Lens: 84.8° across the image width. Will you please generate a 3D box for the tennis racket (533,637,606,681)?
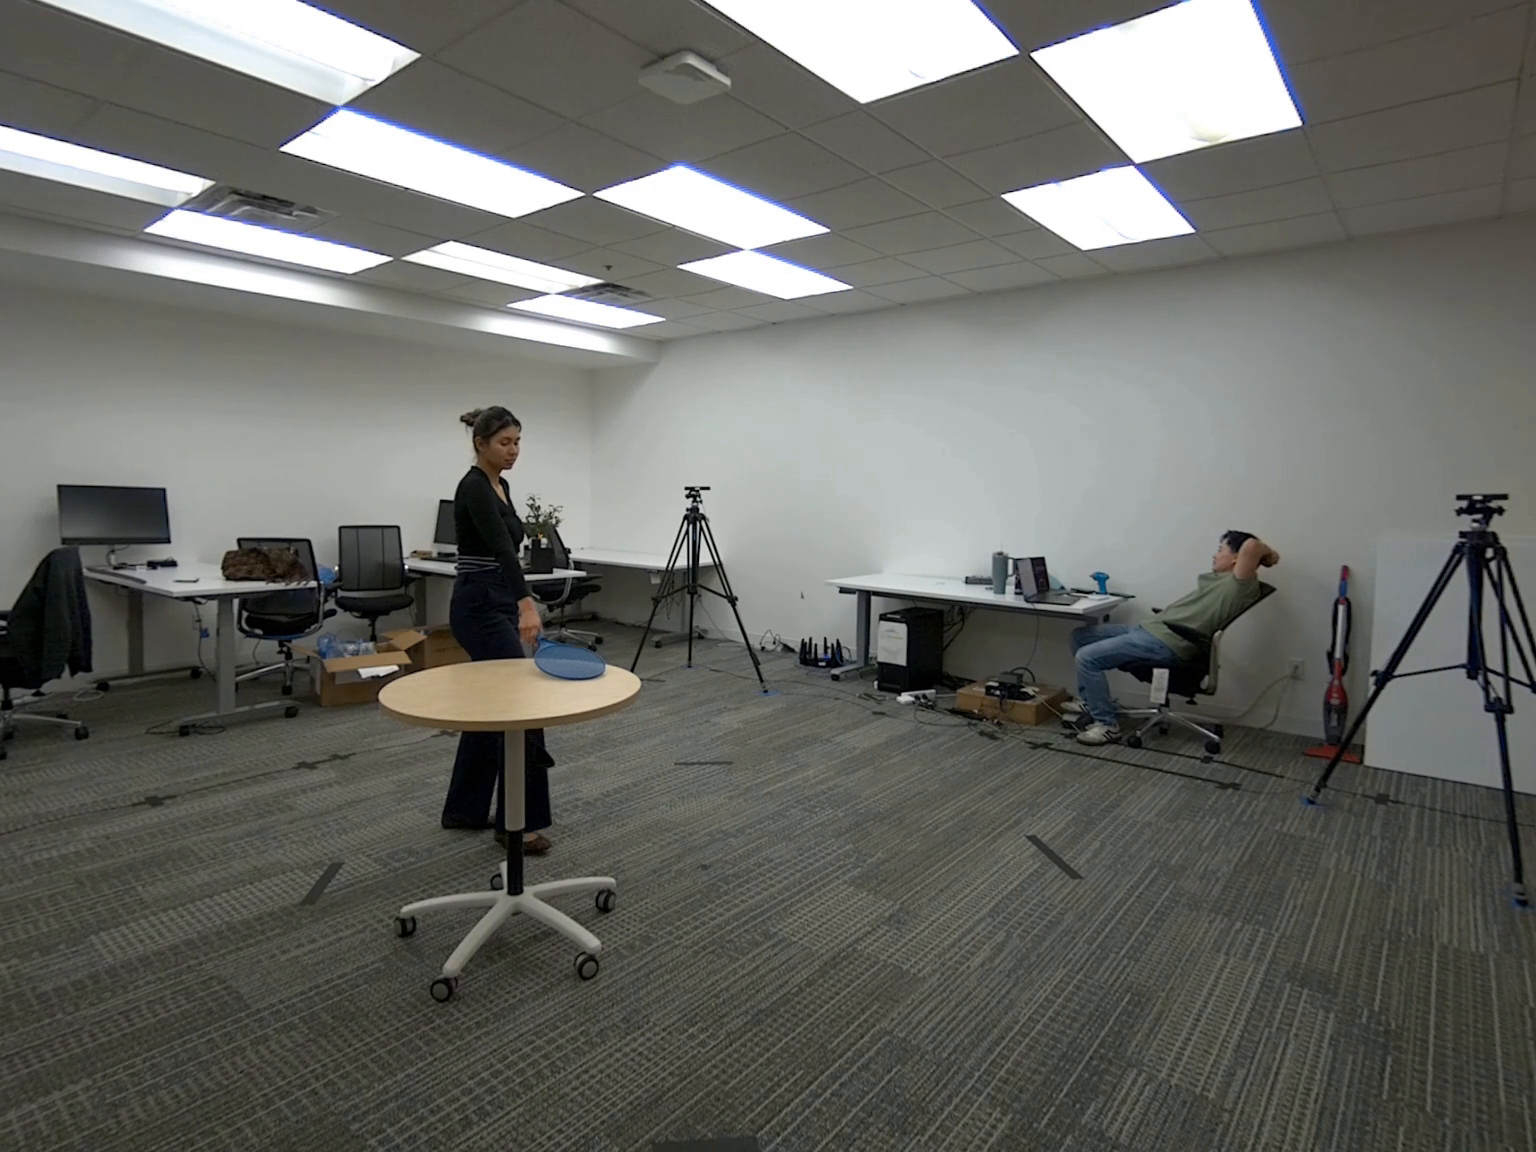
[{"bbox_3d":[-0.699,0.248,2.795,0.208,0.031,0.451,-12,26,-42],"label":"tennis racket"}]
